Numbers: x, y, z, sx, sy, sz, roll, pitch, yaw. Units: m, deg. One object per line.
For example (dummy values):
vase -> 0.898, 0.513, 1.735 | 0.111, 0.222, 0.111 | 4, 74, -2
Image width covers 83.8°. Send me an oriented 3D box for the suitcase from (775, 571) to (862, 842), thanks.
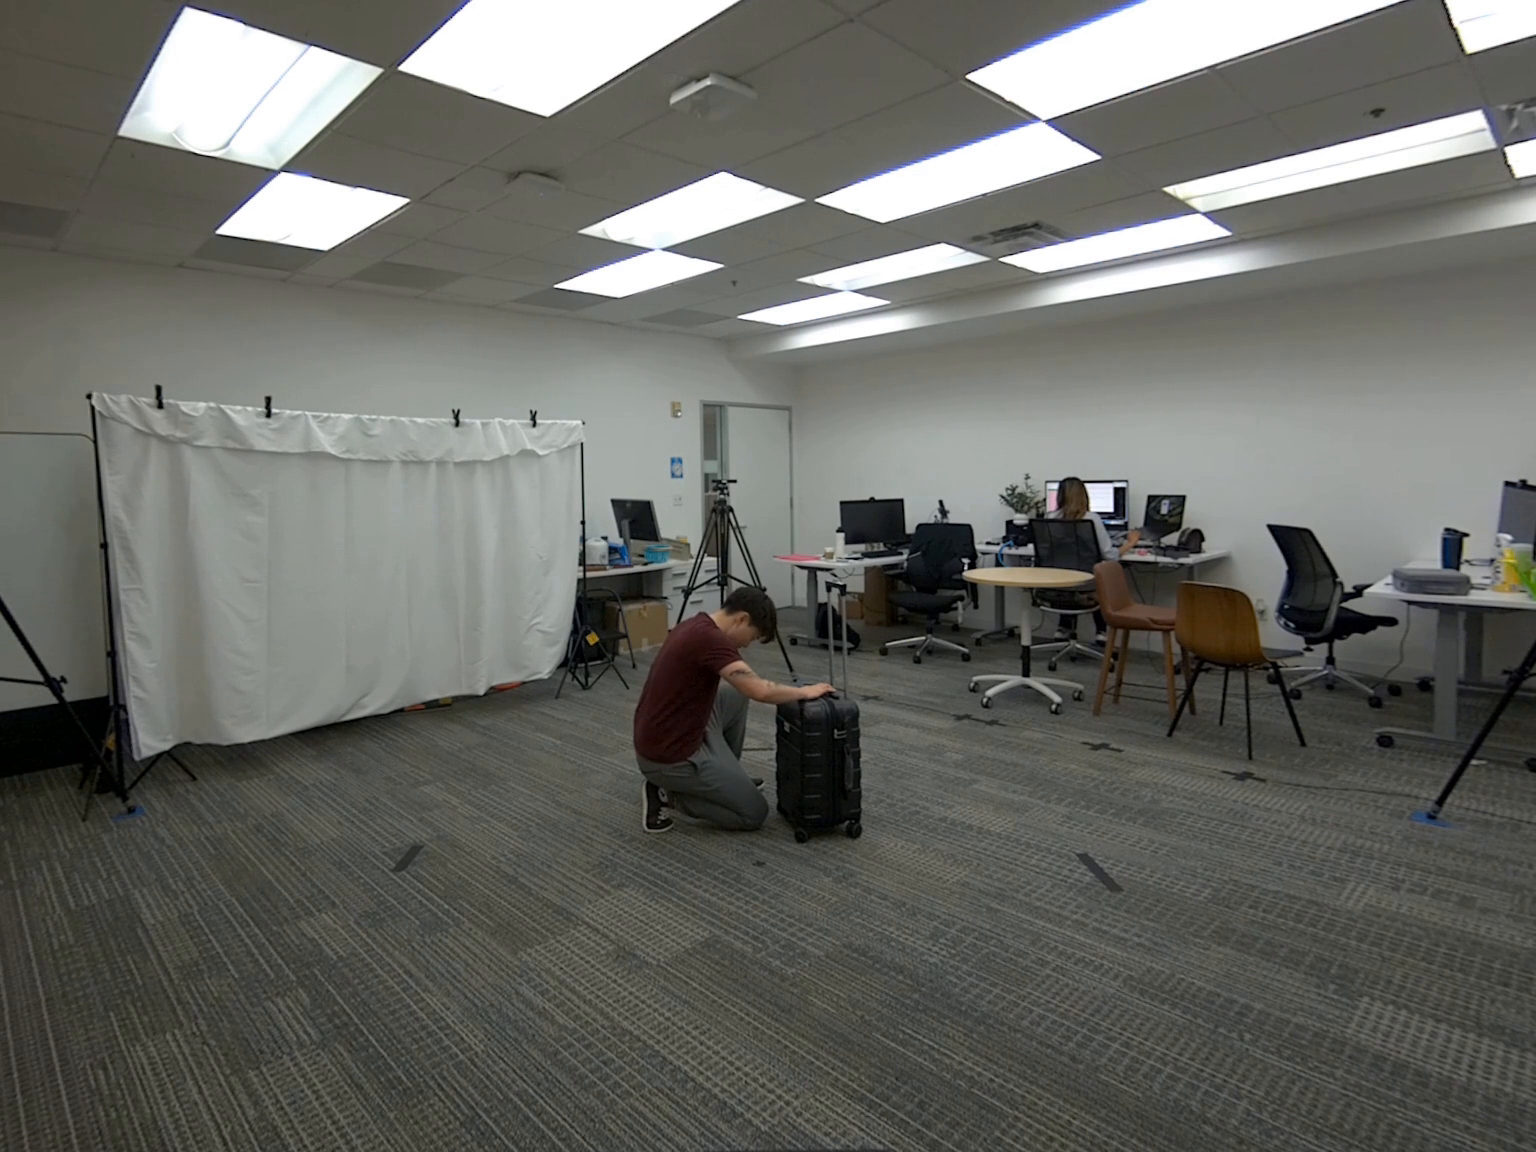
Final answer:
suitcase -> 0.192, 0.527, 3.422 | 0.253, 0.976, 0.390 | -3, 3, -16
